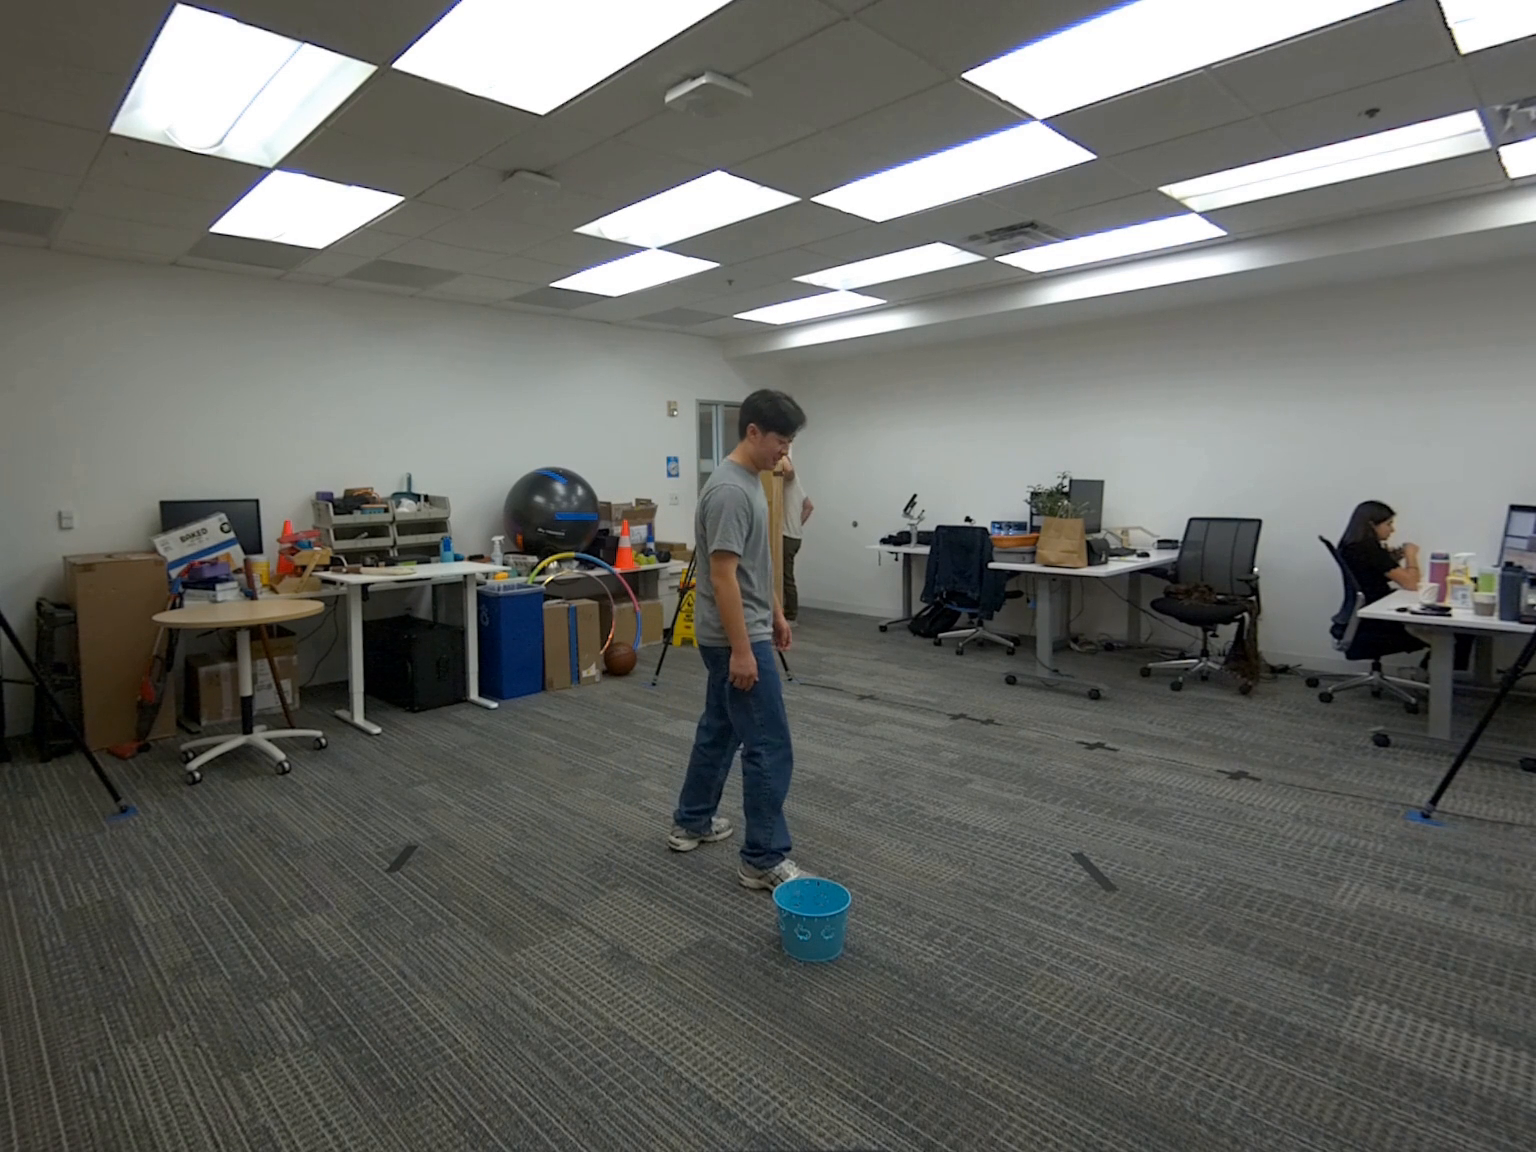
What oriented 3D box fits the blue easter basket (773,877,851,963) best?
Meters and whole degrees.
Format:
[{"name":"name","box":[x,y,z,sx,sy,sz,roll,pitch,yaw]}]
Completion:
[{"name":"blue easter basket","box":[0.136,1.030,2.558,0.243,0.155,0.245,-2,6,-2]}]
